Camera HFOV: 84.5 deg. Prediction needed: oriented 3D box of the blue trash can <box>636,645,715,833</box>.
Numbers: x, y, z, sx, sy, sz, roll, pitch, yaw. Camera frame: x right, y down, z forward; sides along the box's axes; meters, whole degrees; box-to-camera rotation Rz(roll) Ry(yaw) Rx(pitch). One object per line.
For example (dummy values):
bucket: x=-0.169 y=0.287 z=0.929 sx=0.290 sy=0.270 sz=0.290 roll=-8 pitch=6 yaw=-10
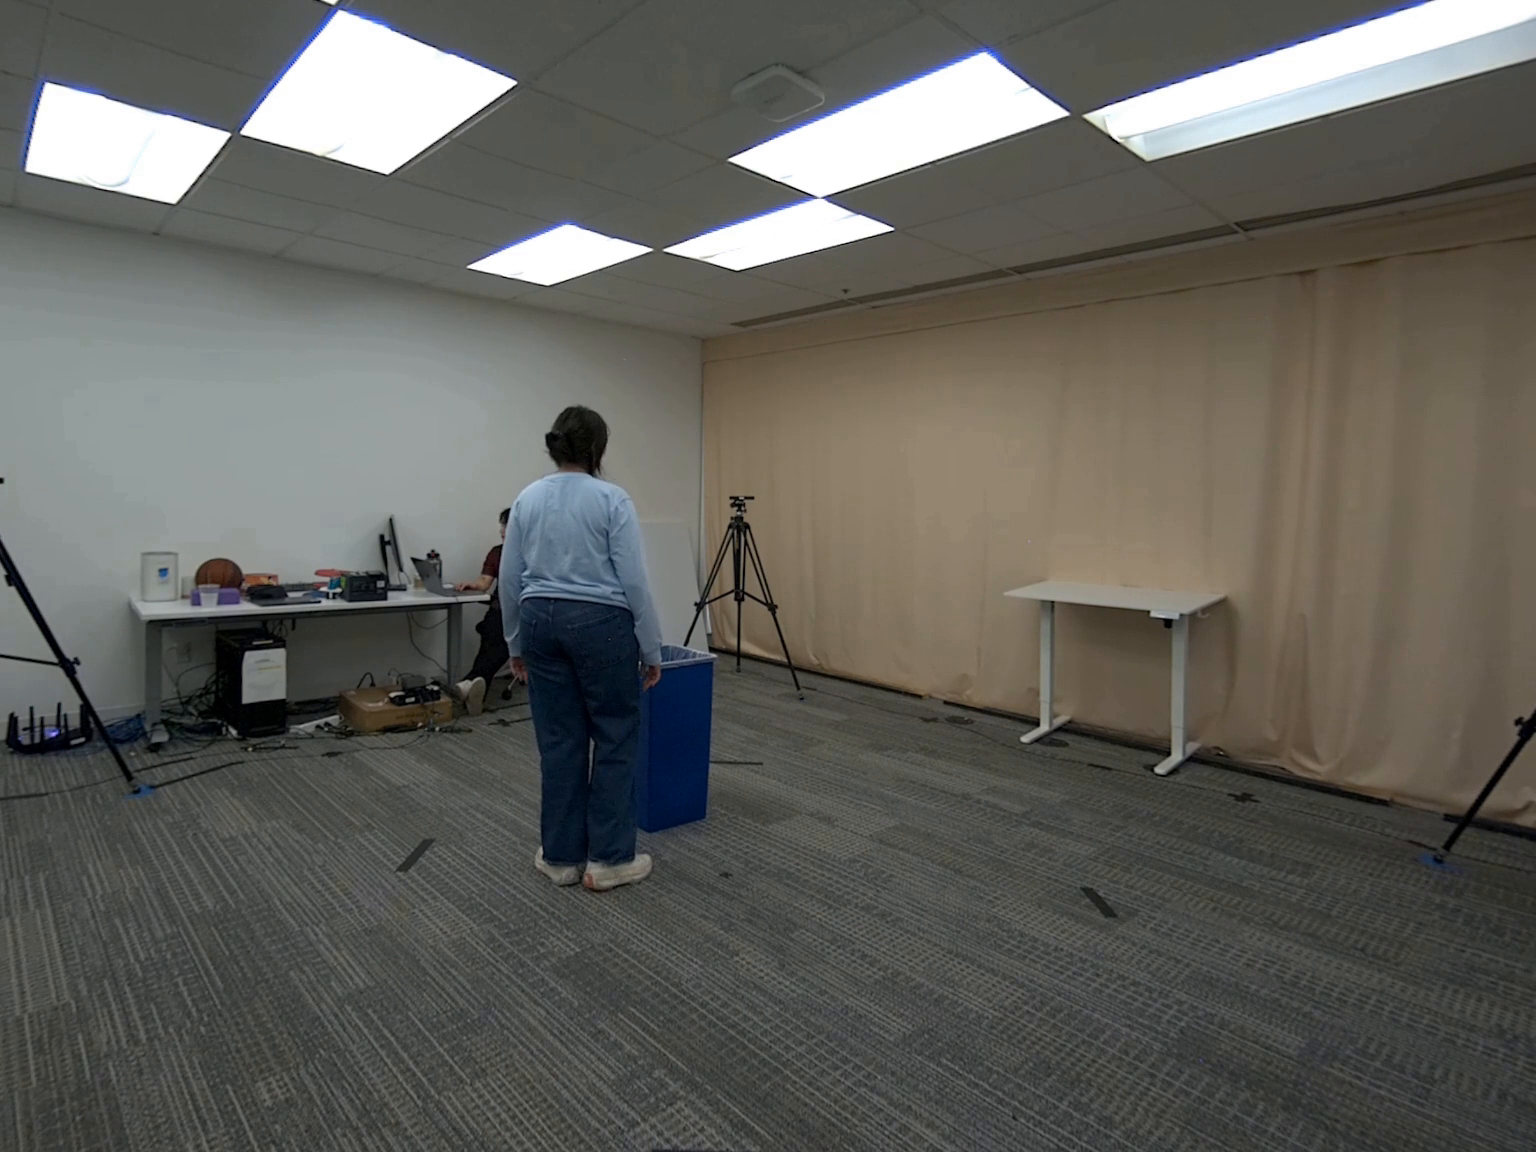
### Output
blue trash can: x=-0.479 y=0.692 z=3.658 sx=0.365 sy=0.712 sz=0.387 roll=-2 pitch=4 yaw=-41
